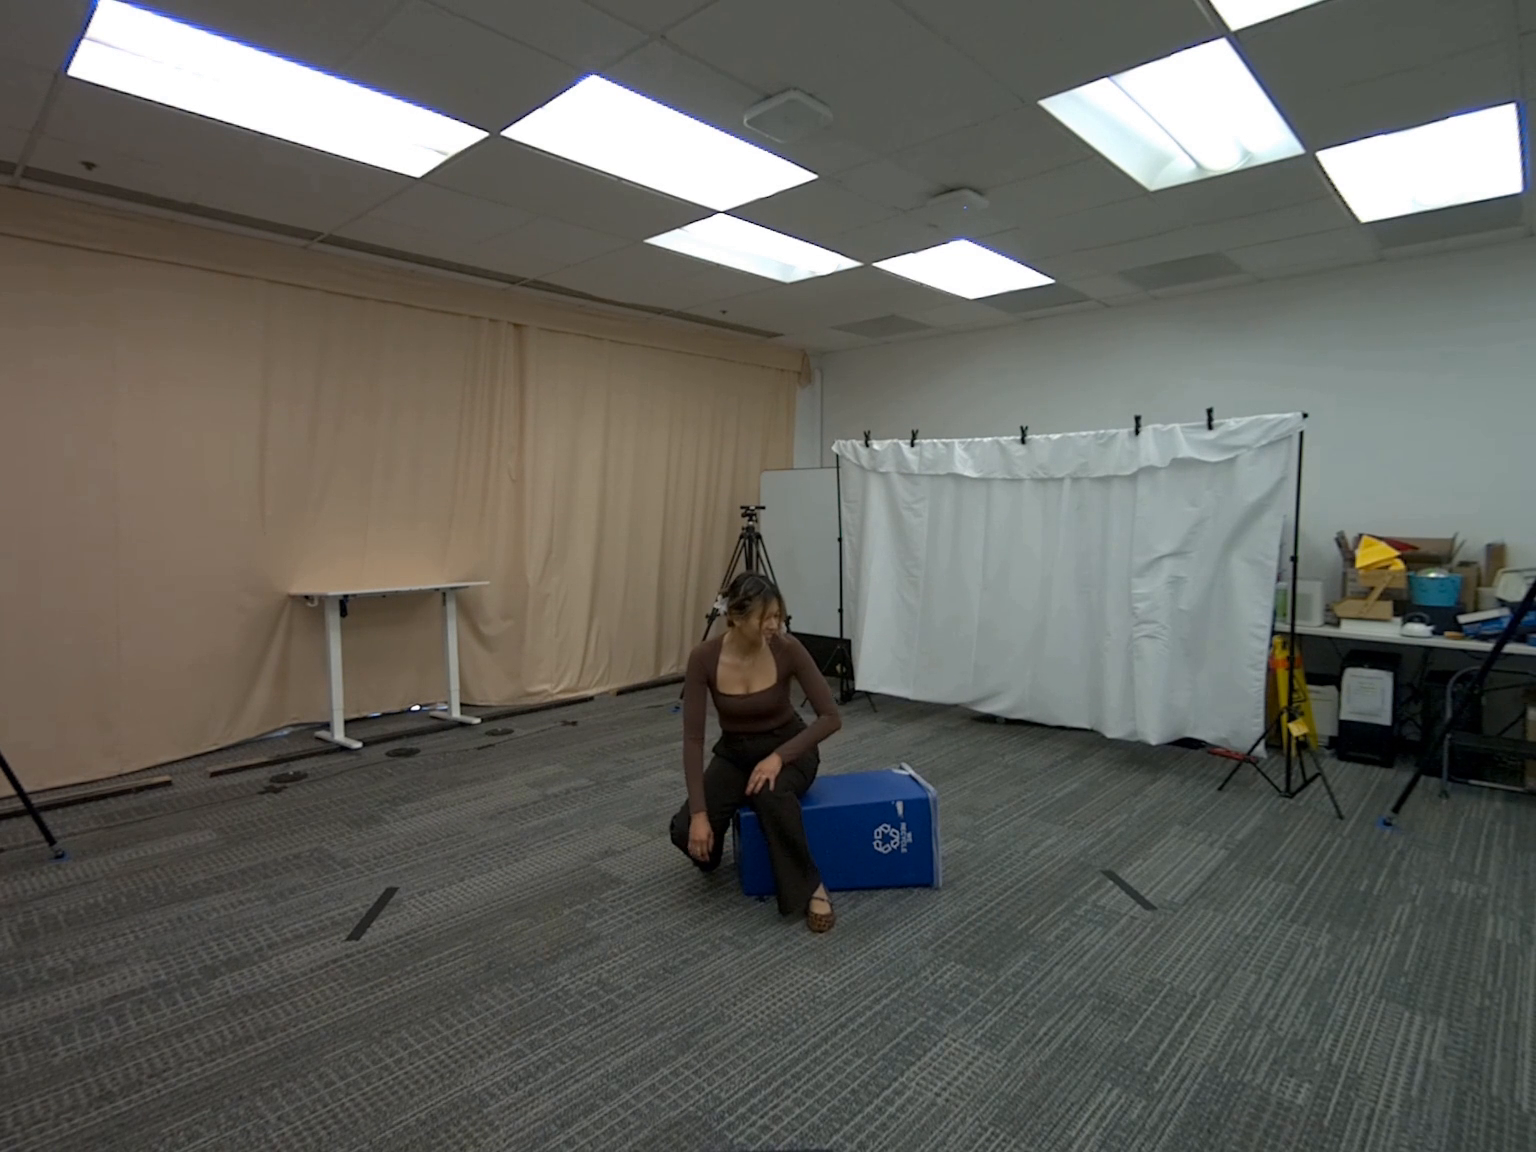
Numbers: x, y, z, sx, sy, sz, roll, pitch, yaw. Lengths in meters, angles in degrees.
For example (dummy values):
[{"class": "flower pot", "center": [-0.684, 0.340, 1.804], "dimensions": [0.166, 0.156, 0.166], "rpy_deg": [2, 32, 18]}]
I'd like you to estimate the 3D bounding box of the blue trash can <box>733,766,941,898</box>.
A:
[{"class": "blue trash can", "center": [0.248, 0.963, 3.164], "dimensions": [0.708, 0.377, 0.378], "rpy_deg": [-4, 4, -8]}]
